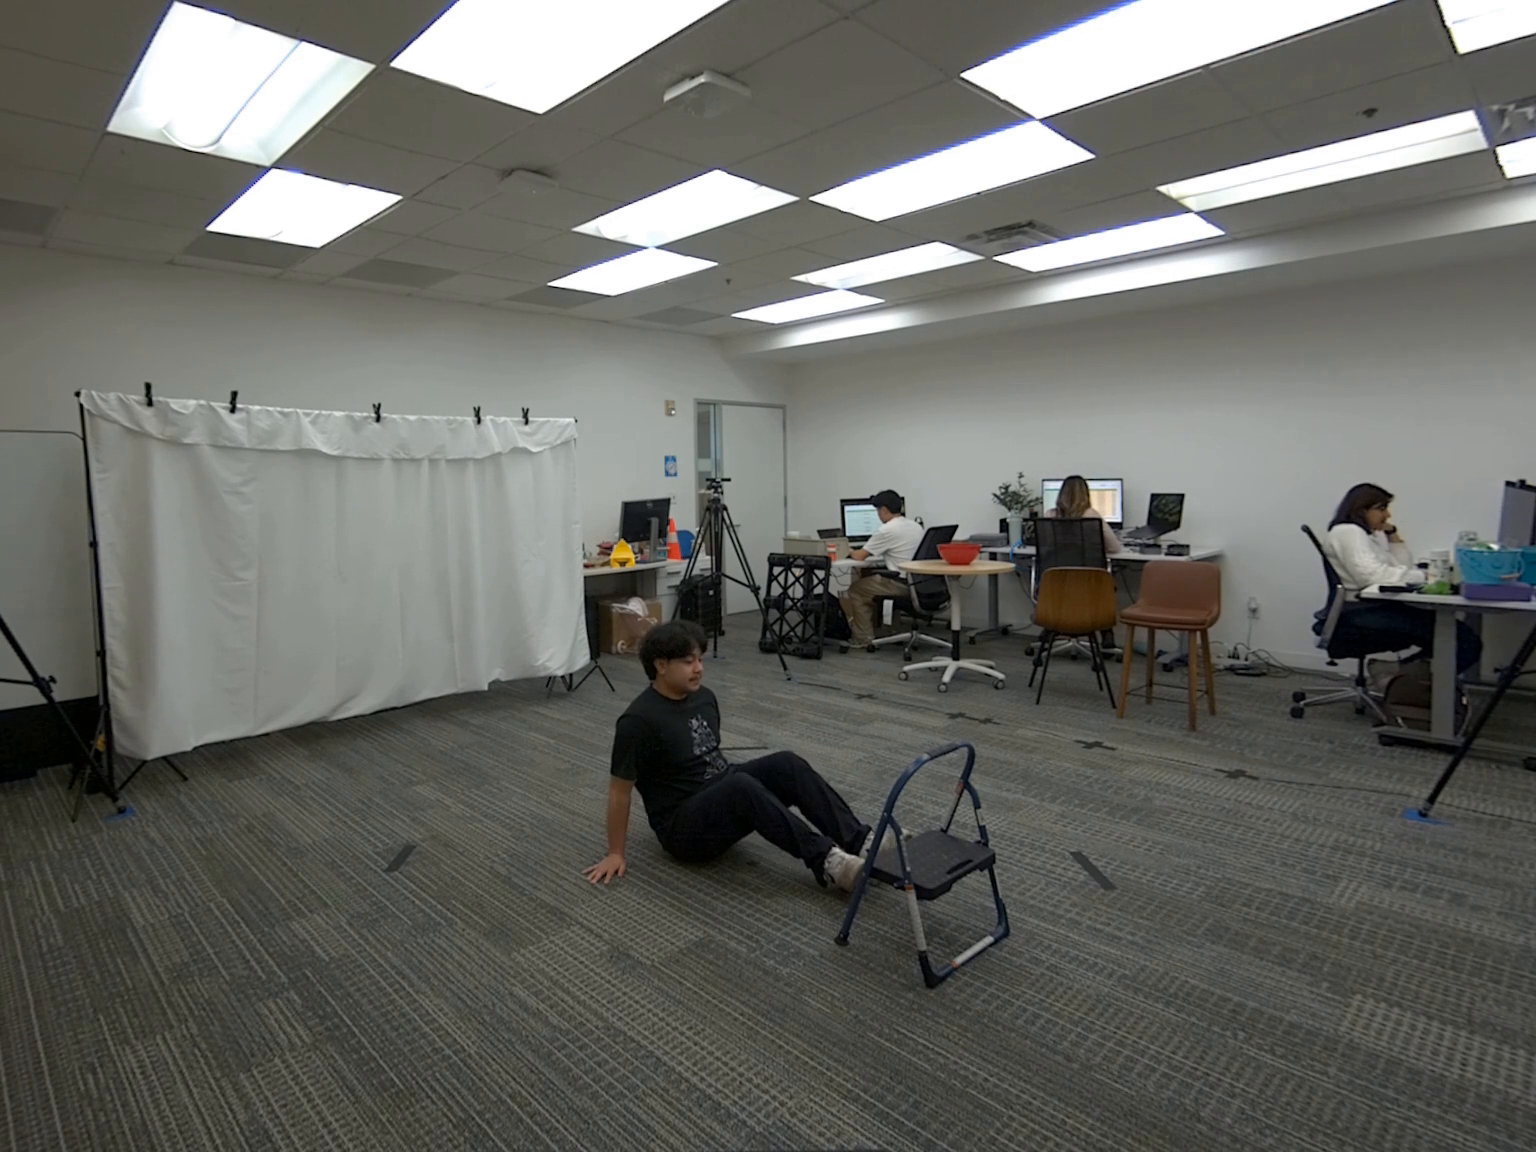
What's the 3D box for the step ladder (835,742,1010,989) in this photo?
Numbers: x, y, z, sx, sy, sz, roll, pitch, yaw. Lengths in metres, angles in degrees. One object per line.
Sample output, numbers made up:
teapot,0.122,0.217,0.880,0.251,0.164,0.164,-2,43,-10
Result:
step ladder,0.471,0.794,2.560,0.419,0.603,0.360,-6,7,-44
